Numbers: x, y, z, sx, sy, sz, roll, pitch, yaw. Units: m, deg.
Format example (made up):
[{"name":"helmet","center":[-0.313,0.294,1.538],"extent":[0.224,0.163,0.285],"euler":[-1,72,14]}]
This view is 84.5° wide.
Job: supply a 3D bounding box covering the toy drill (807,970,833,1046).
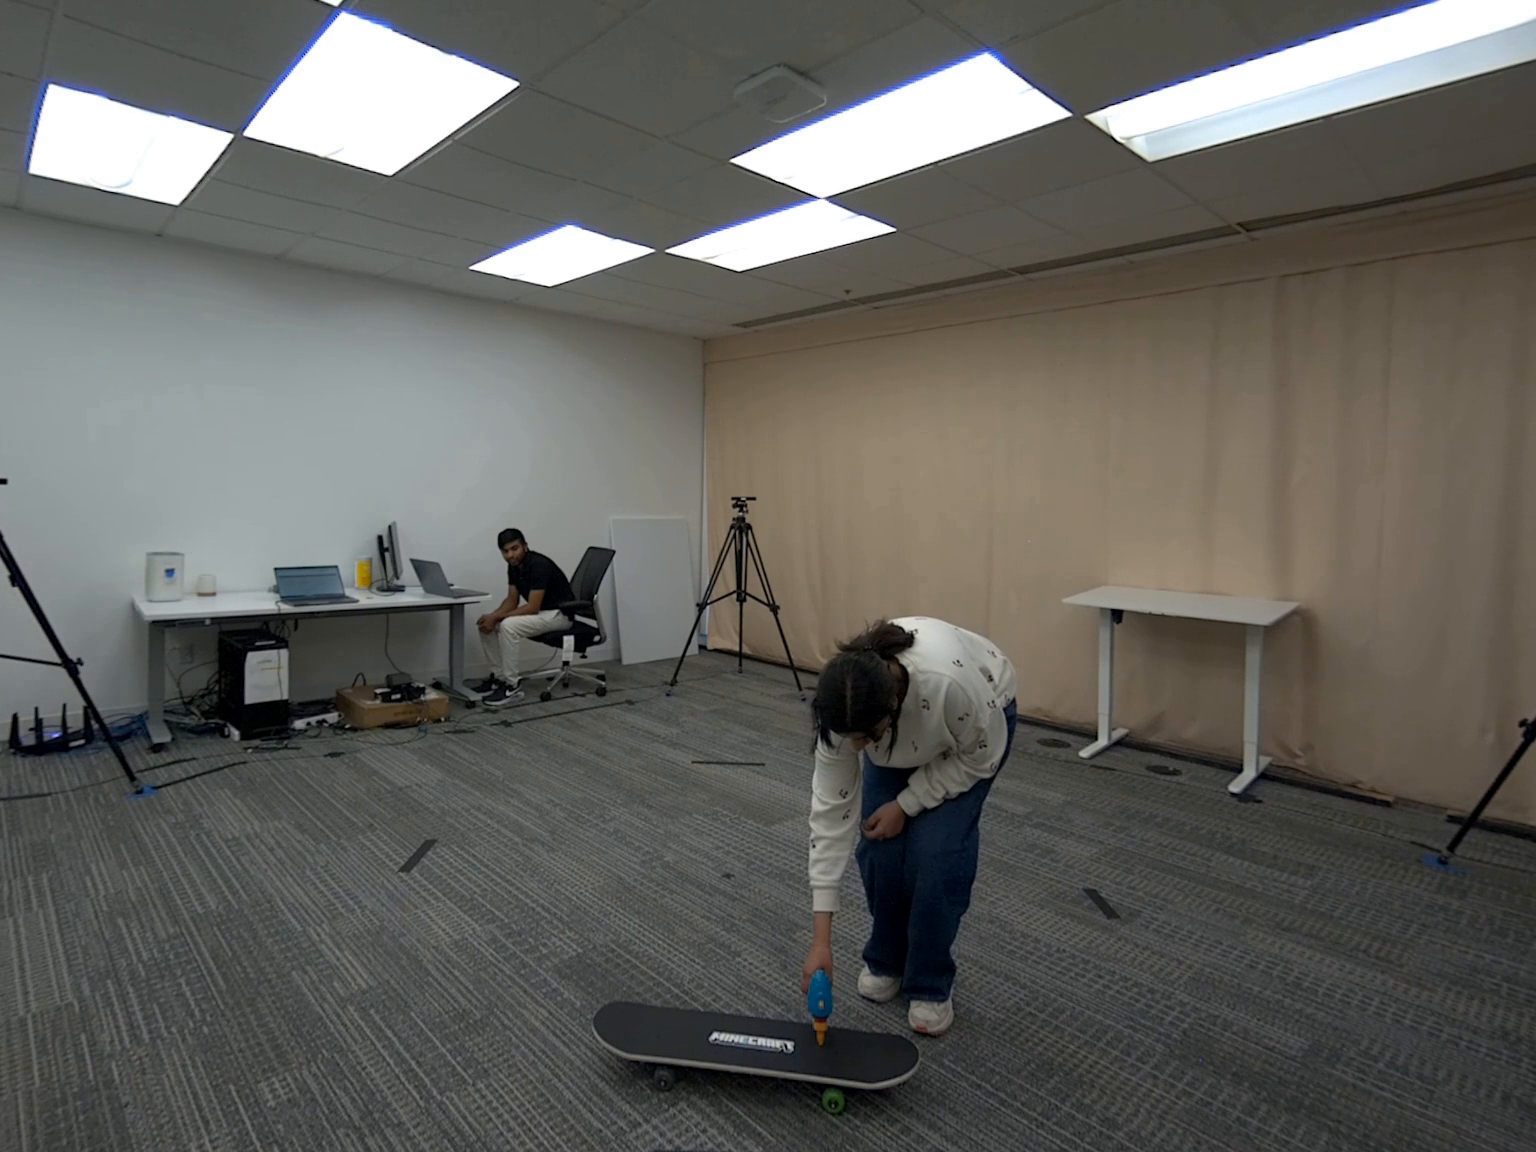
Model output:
[{"name":"toy drill","center":[0.117,1.047,2.056],"extent":[0.061,0.171,0.145],"euler":[2,-7,3]}]
